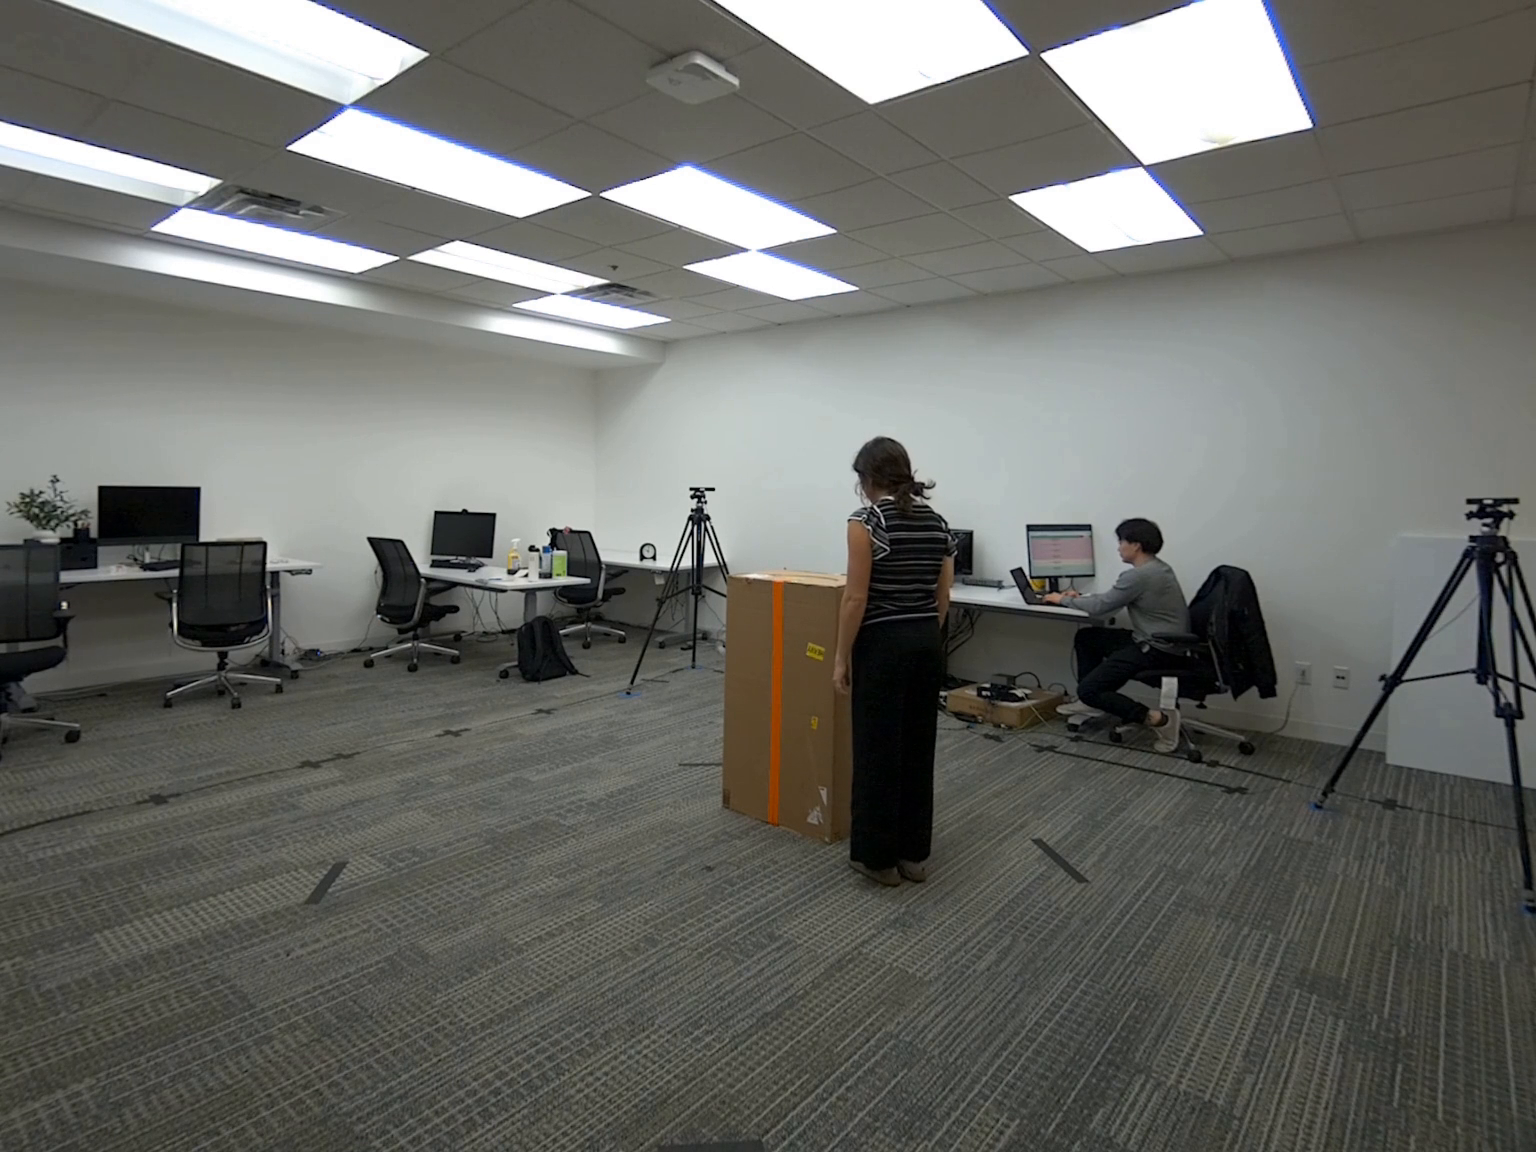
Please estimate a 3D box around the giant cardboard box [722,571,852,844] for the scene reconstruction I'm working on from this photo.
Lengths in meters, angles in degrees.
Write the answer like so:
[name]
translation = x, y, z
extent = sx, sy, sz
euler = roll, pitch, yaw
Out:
[giant cardboard box]
translation = 0.150, 0.514, 3.665
extent = 0.597, 1.023, 0.413
euler = 3, 3, 41
